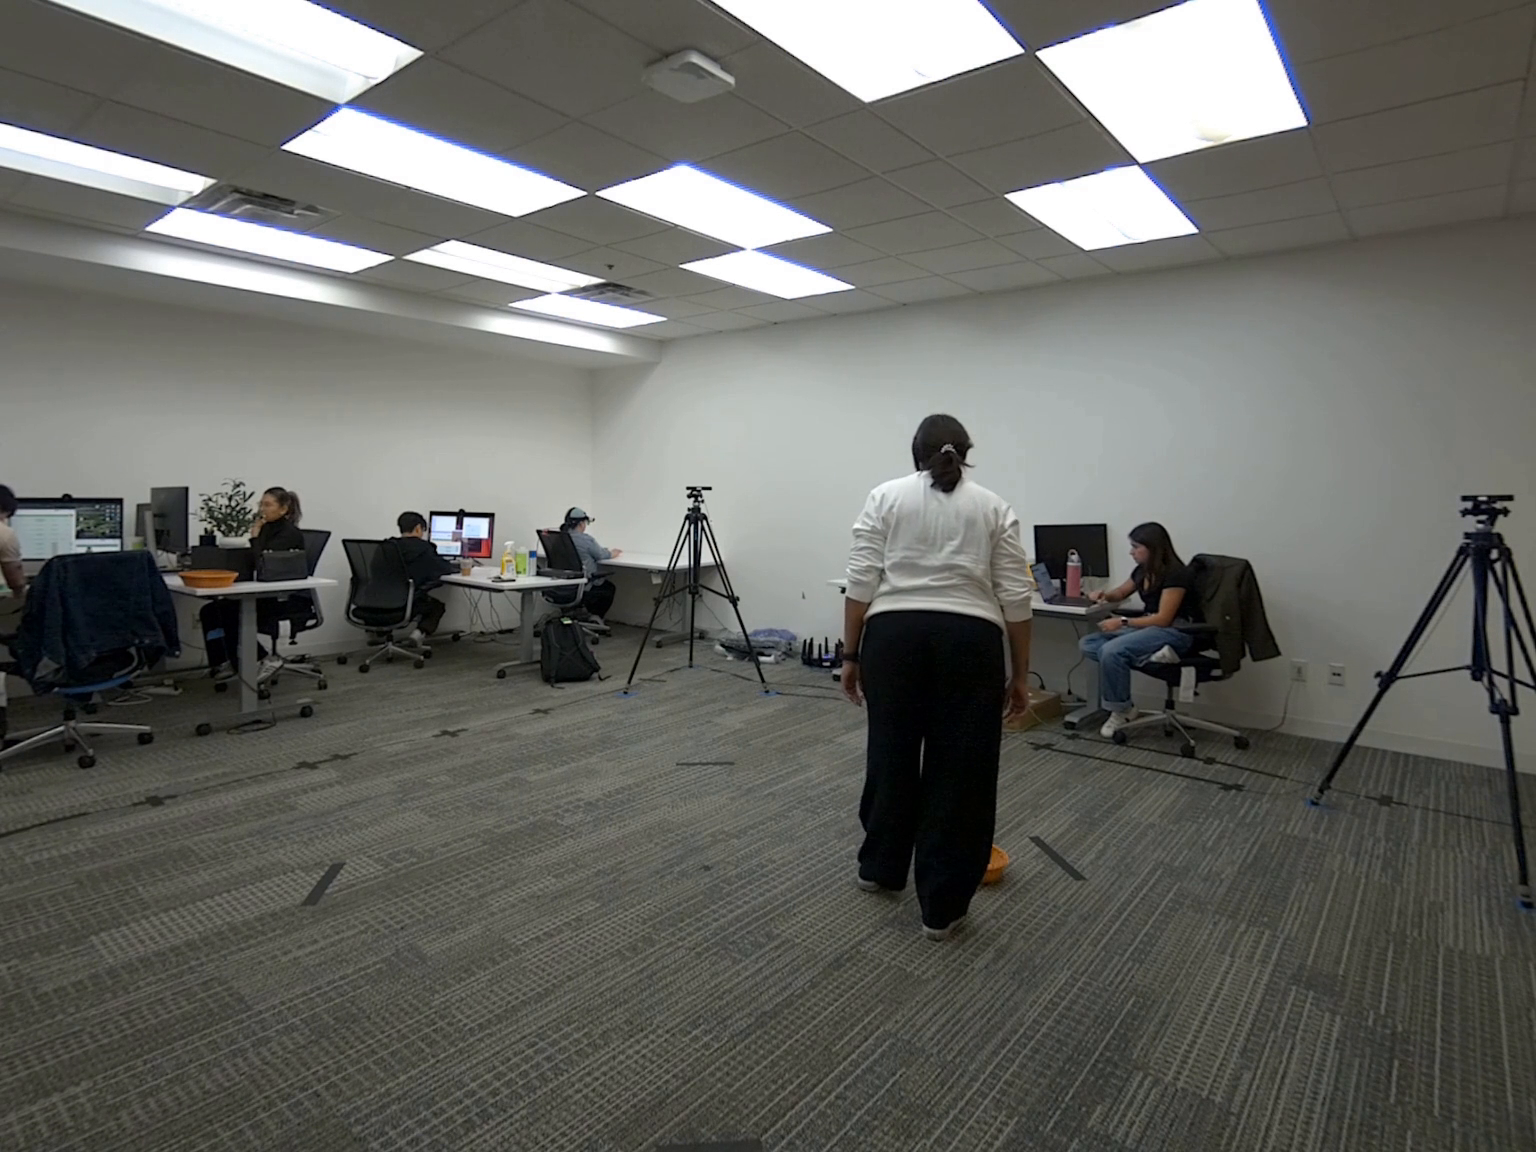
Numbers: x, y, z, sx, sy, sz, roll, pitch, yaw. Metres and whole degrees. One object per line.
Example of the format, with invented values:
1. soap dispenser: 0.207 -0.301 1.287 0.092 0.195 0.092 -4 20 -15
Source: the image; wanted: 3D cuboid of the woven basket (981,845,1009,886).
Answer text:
1. woven basket: 0.727 1.044 3.153 0.246 0.073 0.361 -4 7 -32
